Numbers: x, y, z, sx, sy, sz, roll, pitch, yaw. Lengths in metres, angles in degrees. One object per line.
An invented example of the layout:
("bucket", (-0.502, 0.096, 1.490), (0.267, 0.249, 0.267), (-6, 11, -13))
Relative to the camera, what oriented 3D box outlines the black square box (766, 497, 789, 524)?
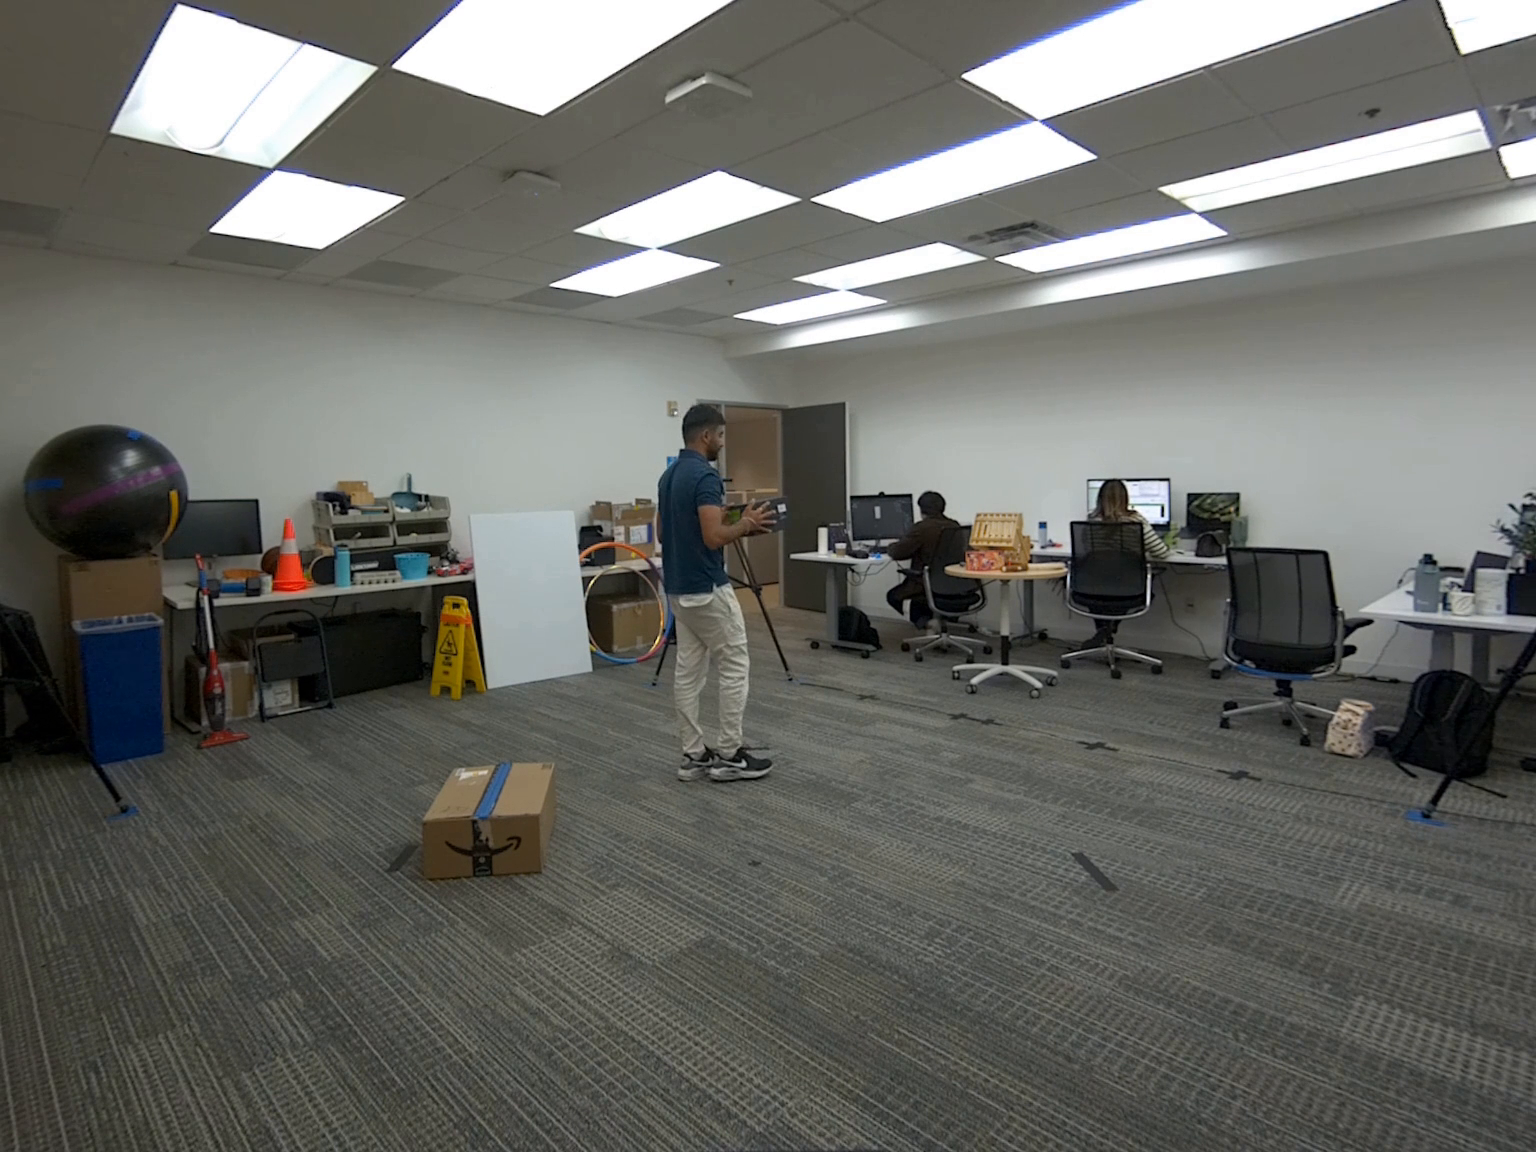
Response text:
("black square box", (-0.042, -0.284, 4.130), (0.213, 0.155, 0.233), (-13, 6, -28))
